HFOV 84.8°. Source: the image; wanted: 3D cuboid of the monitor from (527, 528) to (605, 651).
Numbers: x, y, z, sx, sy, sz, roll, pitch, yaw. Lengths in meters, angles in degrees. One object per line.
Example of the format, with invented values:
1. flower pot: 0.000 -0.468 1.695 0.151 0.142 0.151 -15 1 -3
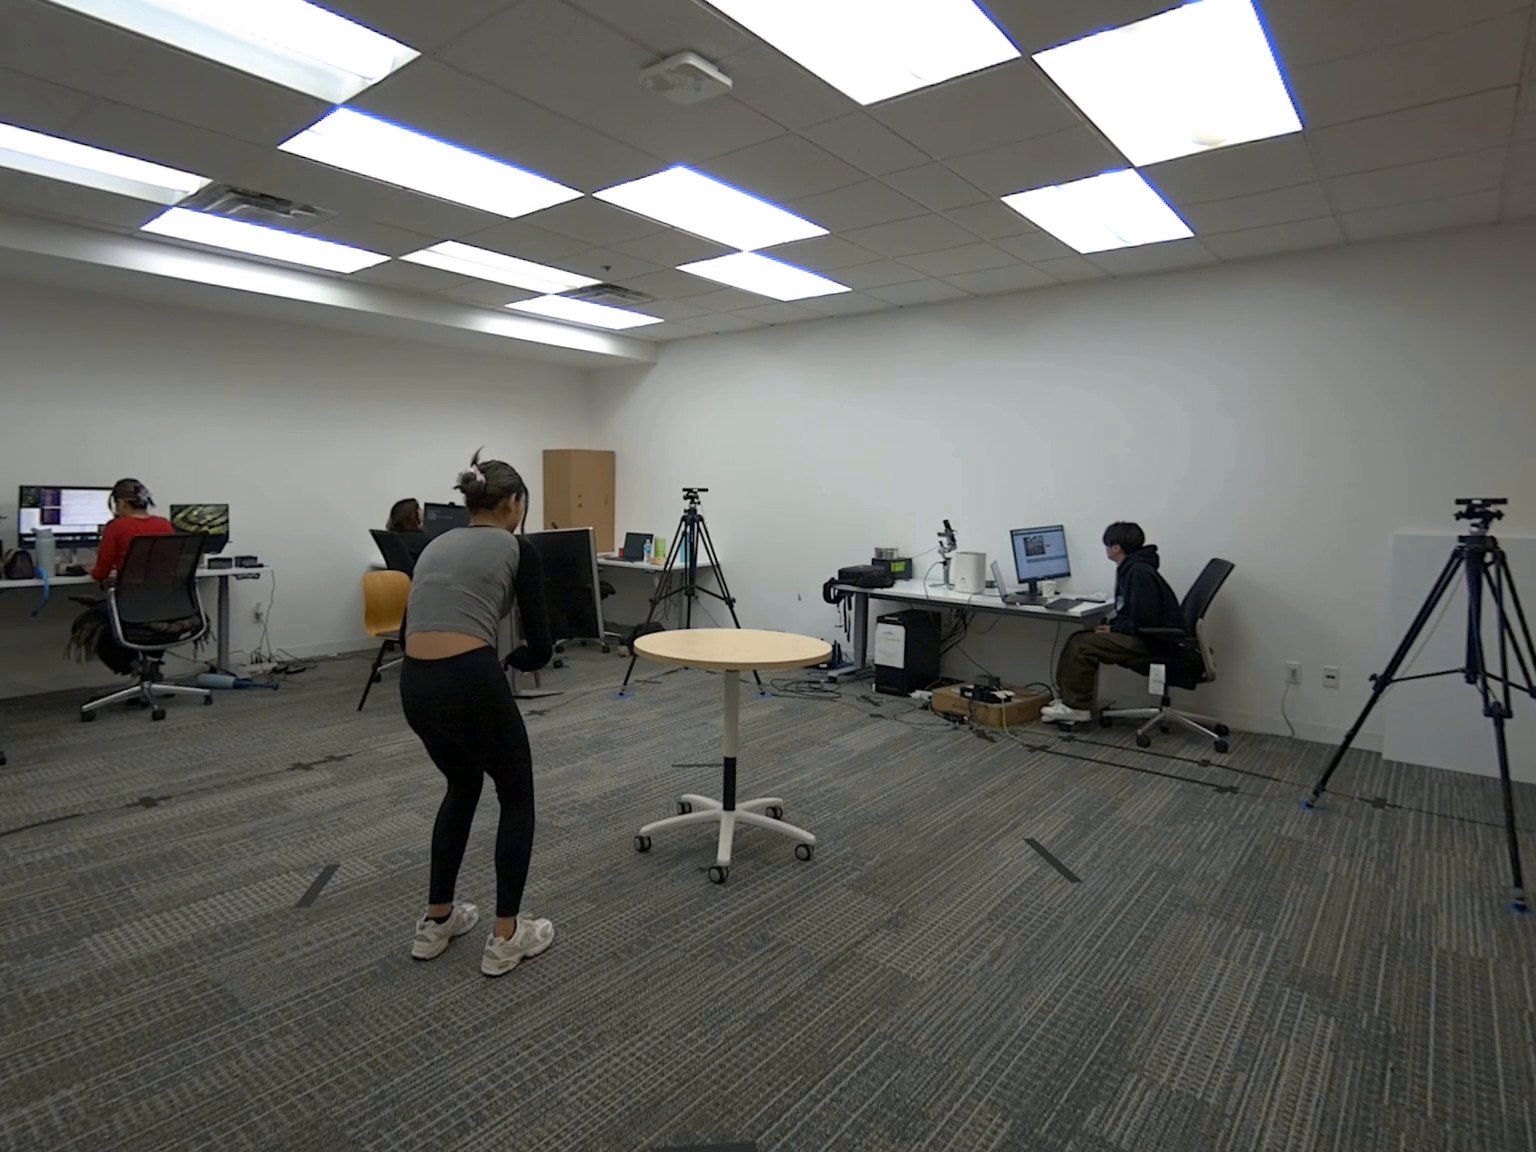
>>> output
1. monitor: -0.832 0.128 2.812 0.551 0.526 0.182 -3 -7 22
